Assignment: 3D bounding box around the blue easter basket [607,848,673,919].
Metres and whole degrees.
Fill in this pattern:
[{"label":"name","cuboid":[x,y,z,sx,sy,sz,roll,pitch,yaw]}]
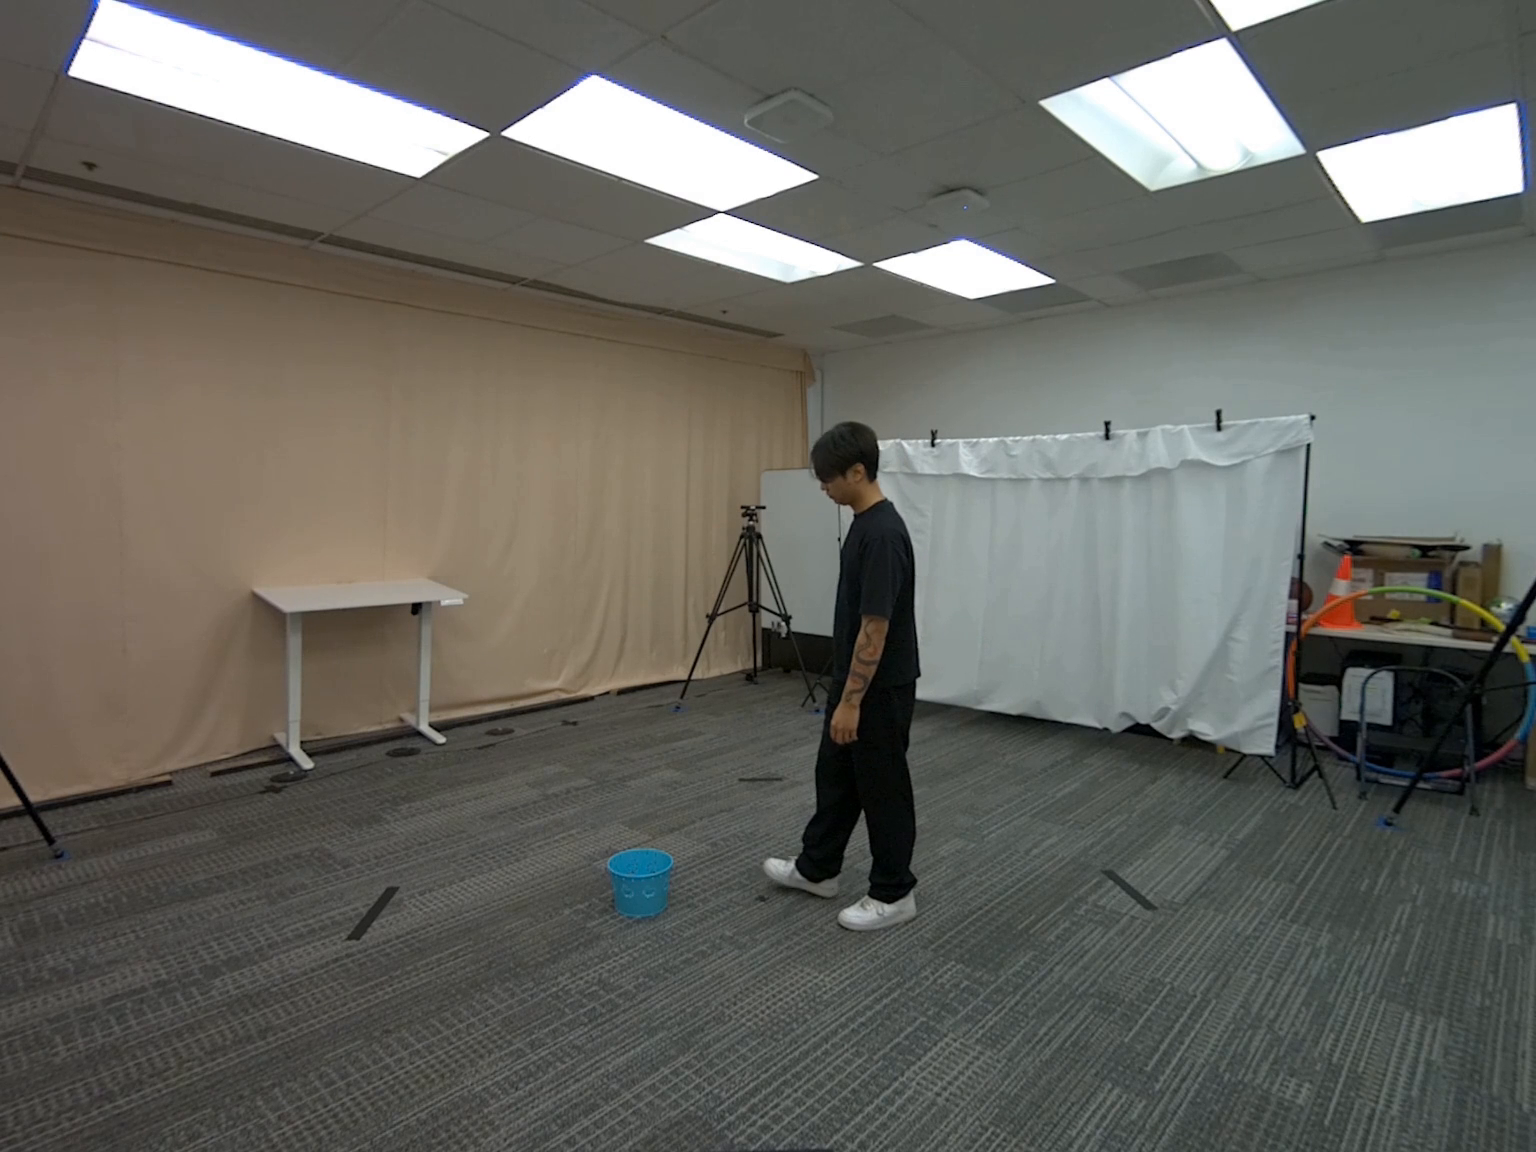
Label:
[{"label":"blue easter basket","cuboid":[-0.452,1.076,2.939,0.243,0.155,0.244,-1,4,-2]}]
